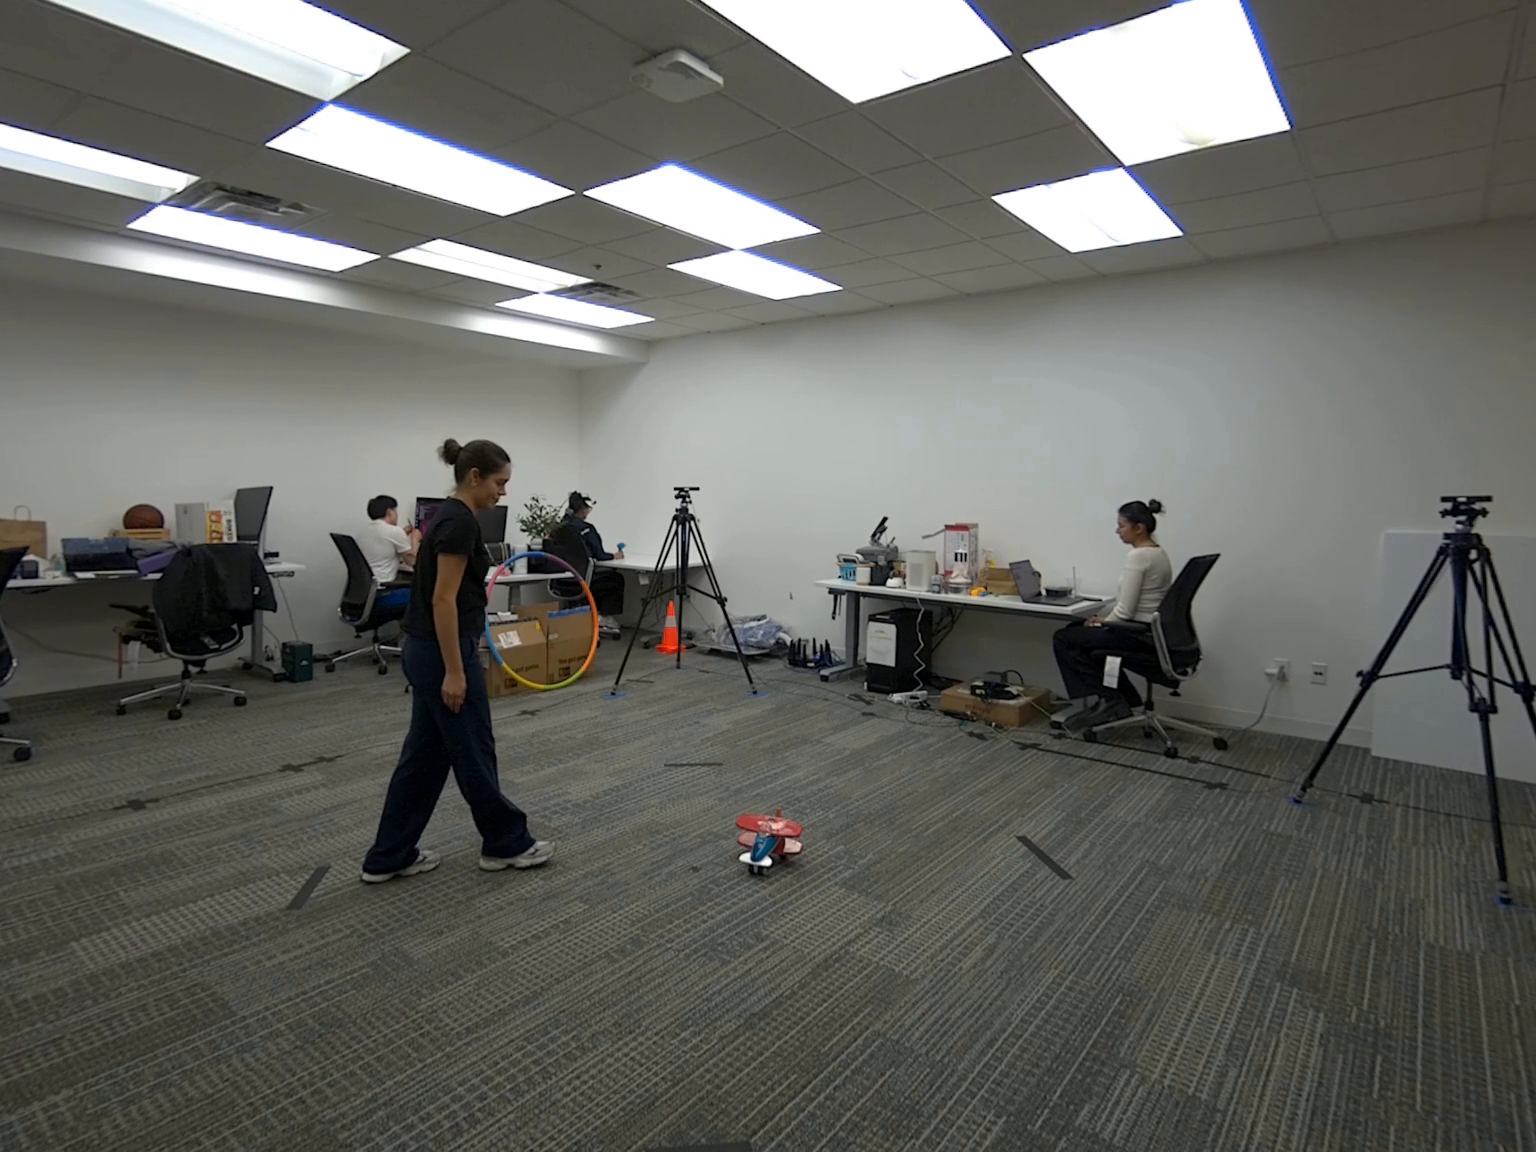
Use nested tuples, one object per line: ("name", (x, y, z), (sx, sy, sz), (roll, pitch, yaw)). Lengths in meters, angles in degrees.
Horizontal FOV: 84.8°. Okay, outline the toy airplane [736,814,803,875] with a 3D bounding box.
("toy airplane", (0.023, 0.996, 3.152), (0.250, 0.156, 0.261), (1, 3, -6))
